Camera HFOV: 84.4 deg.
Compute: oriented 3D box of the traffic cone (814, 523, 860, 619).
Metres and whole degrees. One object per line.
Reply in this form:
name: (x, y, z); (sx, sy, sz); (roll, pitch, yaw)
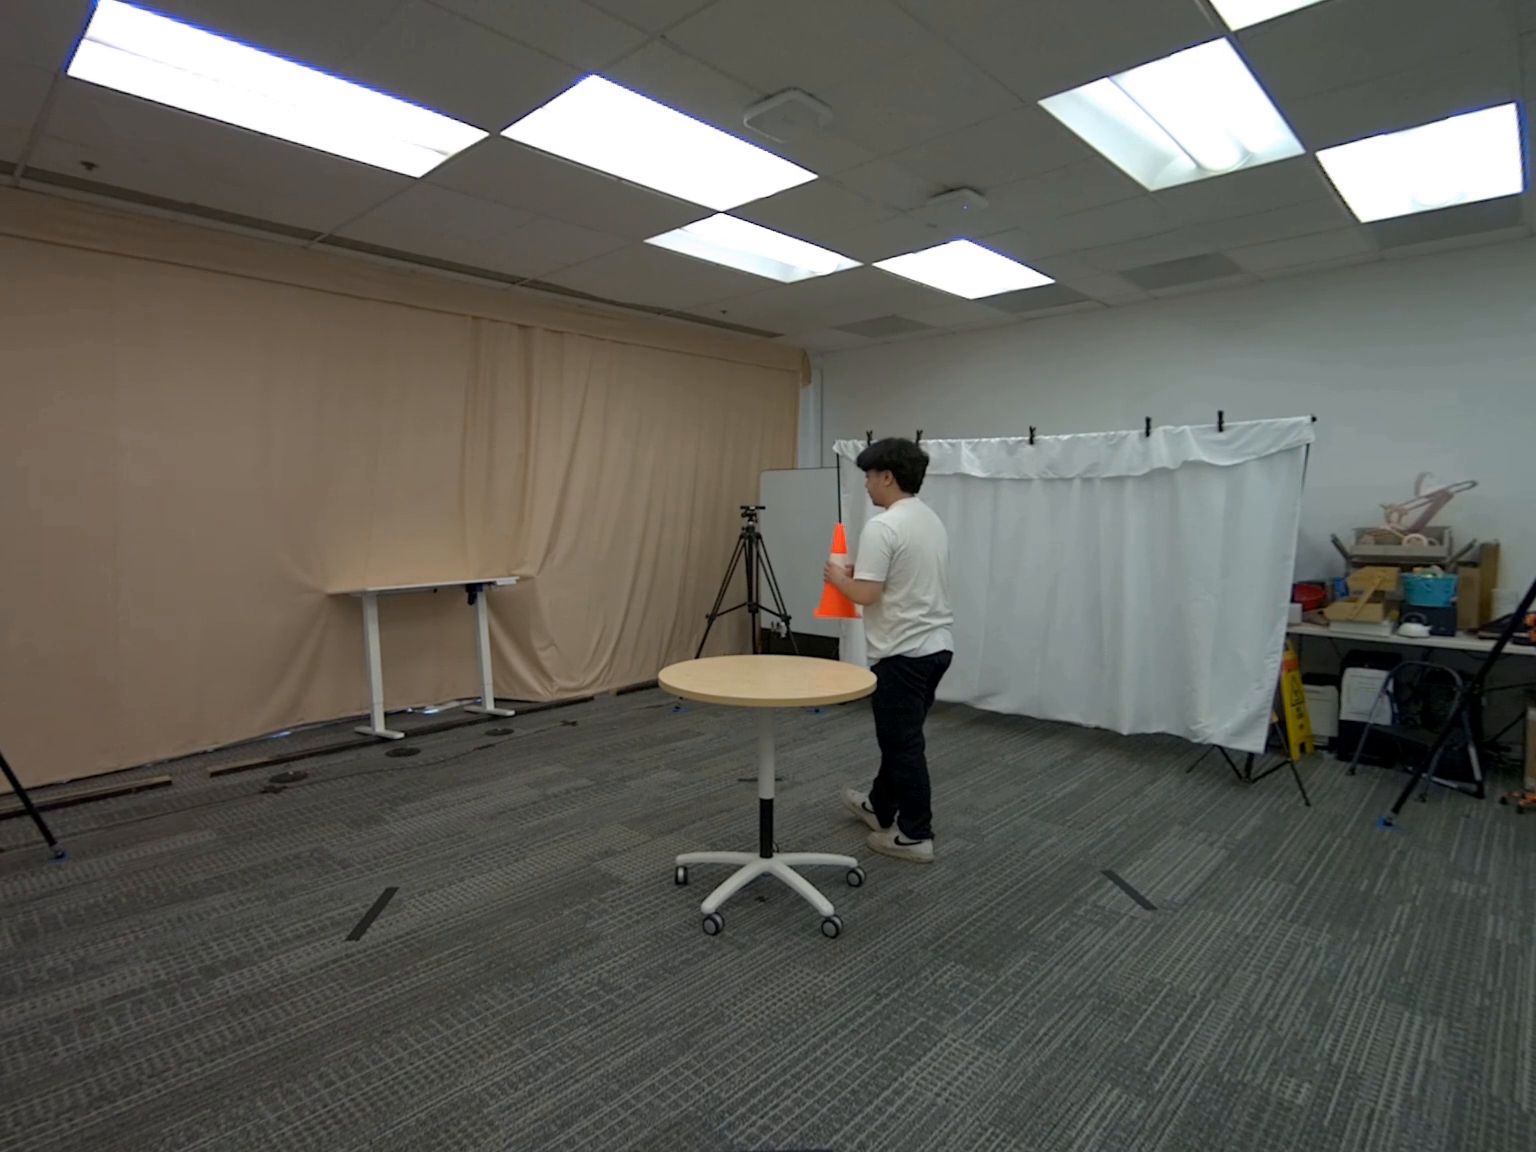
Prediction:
traffic cone: (0.308, -0.027, 3.559); (0.208, 0.383, 0.201); (2, 3, 11)
